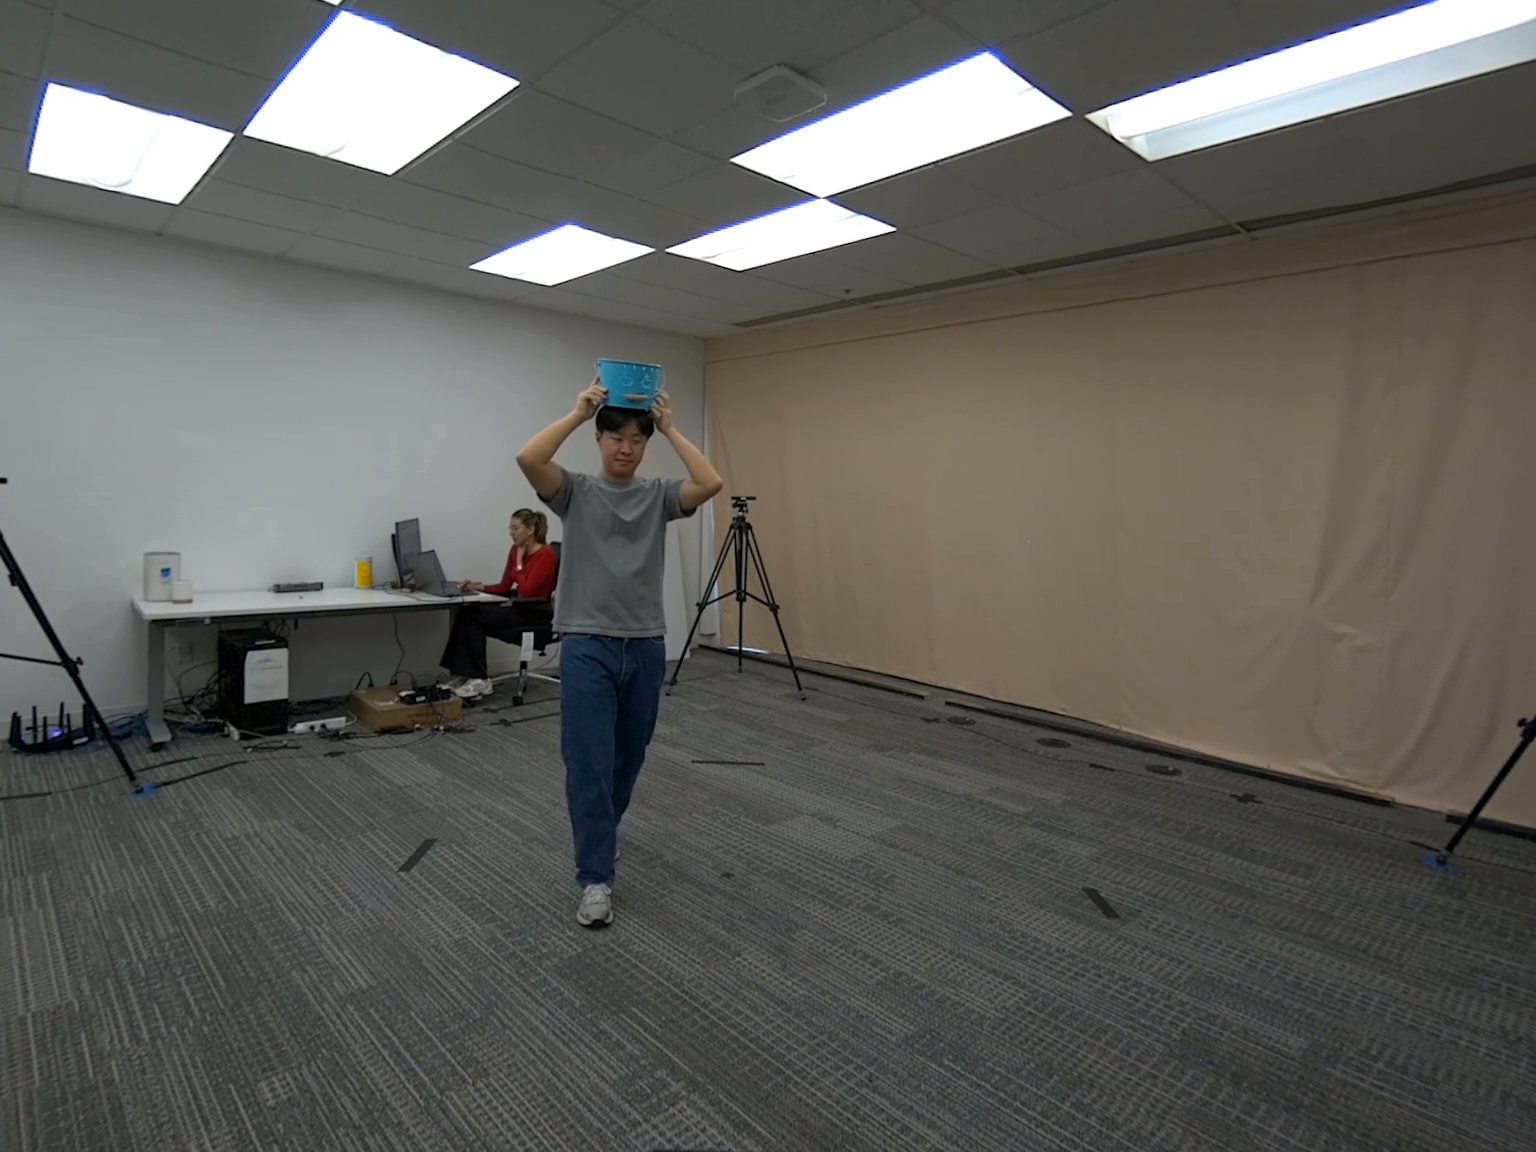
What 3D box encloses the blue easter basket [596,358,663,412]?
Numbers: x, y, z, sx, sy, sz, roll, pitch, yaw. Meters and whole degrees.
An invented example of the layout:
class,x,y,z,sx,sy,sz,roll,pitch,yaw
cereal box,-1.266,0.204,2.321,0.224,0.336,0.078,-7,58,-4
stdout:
class,x,y,z,sx,sy,sz,roll,pitch,yaw
blue easter basket,-0.507,-0.667,2.931,0.243,0.155,0.245,5,11,-2
